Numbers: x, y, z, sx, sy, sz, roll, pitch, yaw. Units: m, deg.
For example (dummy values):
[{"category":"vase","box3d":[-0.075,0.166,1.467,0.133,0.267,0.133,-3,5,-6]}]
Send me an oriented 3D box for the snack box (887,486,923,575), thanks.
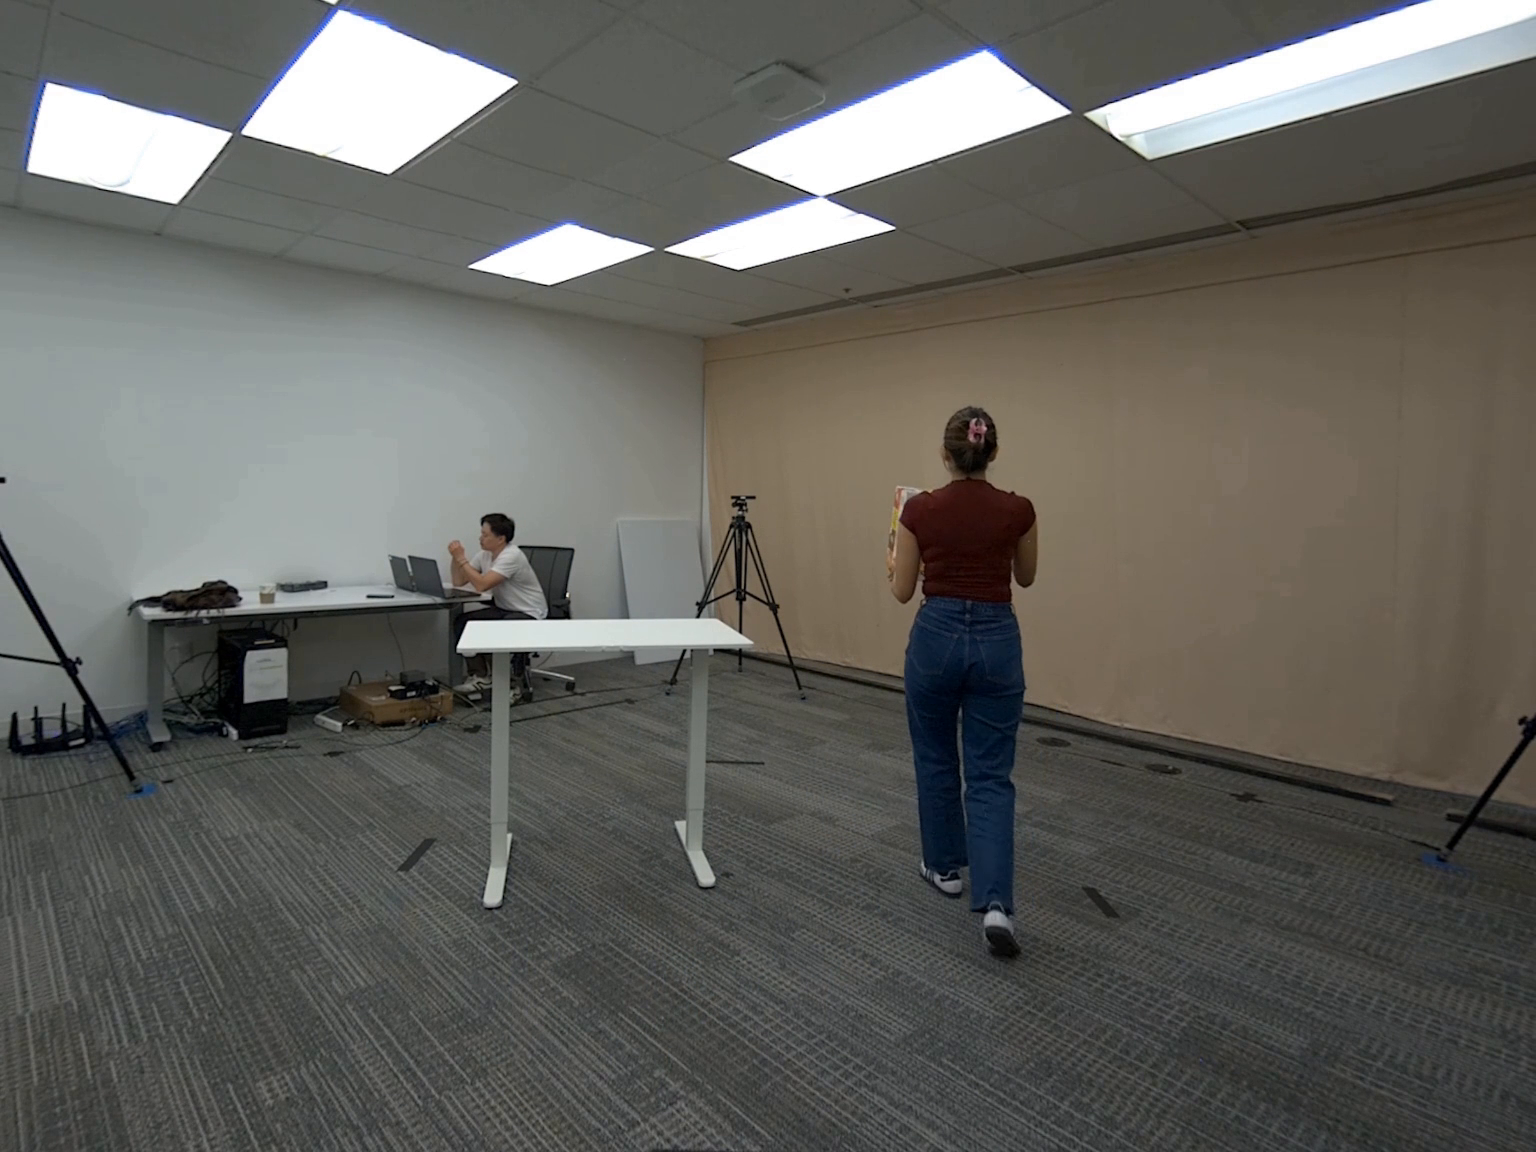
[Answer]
[{"category":"snack box","box3d":[0.694,-0.159,3.280,0.405,0.338,0.207,6,11,-1]}]
